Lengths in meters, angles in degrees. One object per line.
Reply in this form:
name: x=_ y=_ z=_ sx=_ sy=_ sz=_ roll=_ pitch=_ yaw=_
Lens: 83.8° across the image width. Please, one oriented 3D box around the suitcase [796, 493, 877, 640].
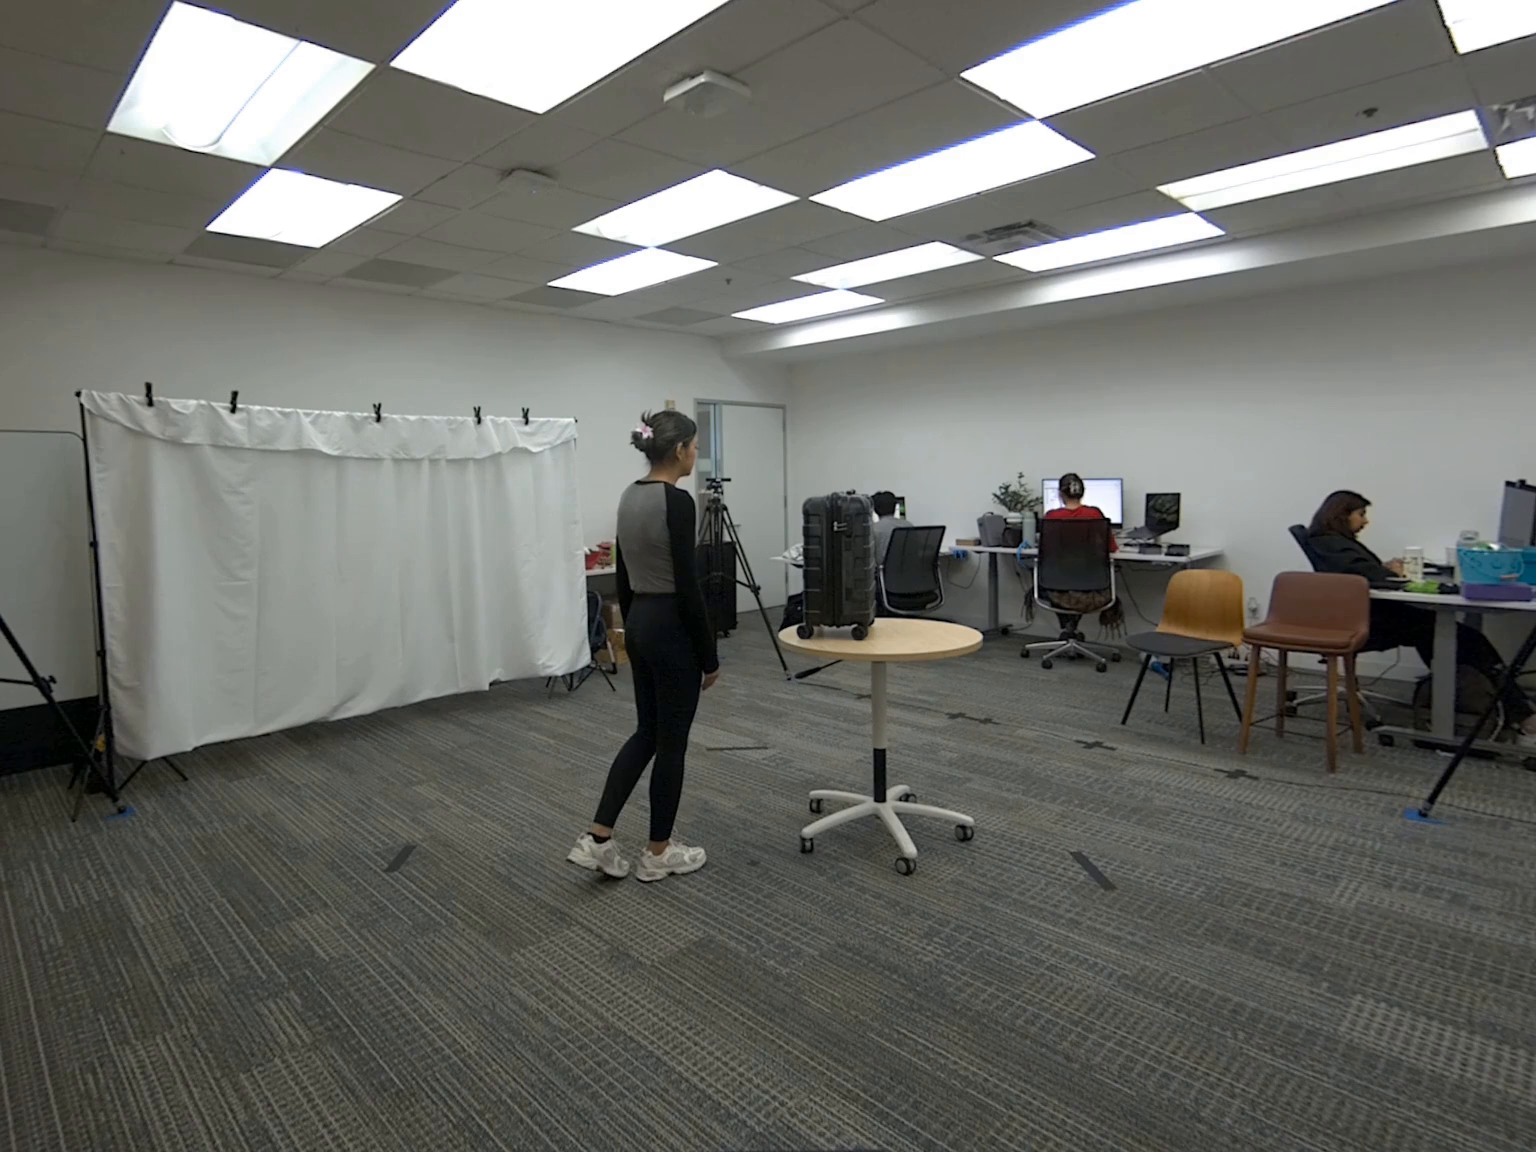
suitcase: x=0.272 y=-0.057 z=3.294 sx=0.251 sy=0.547 sz=0.372 roll=1 pitch=5 yaw=11
